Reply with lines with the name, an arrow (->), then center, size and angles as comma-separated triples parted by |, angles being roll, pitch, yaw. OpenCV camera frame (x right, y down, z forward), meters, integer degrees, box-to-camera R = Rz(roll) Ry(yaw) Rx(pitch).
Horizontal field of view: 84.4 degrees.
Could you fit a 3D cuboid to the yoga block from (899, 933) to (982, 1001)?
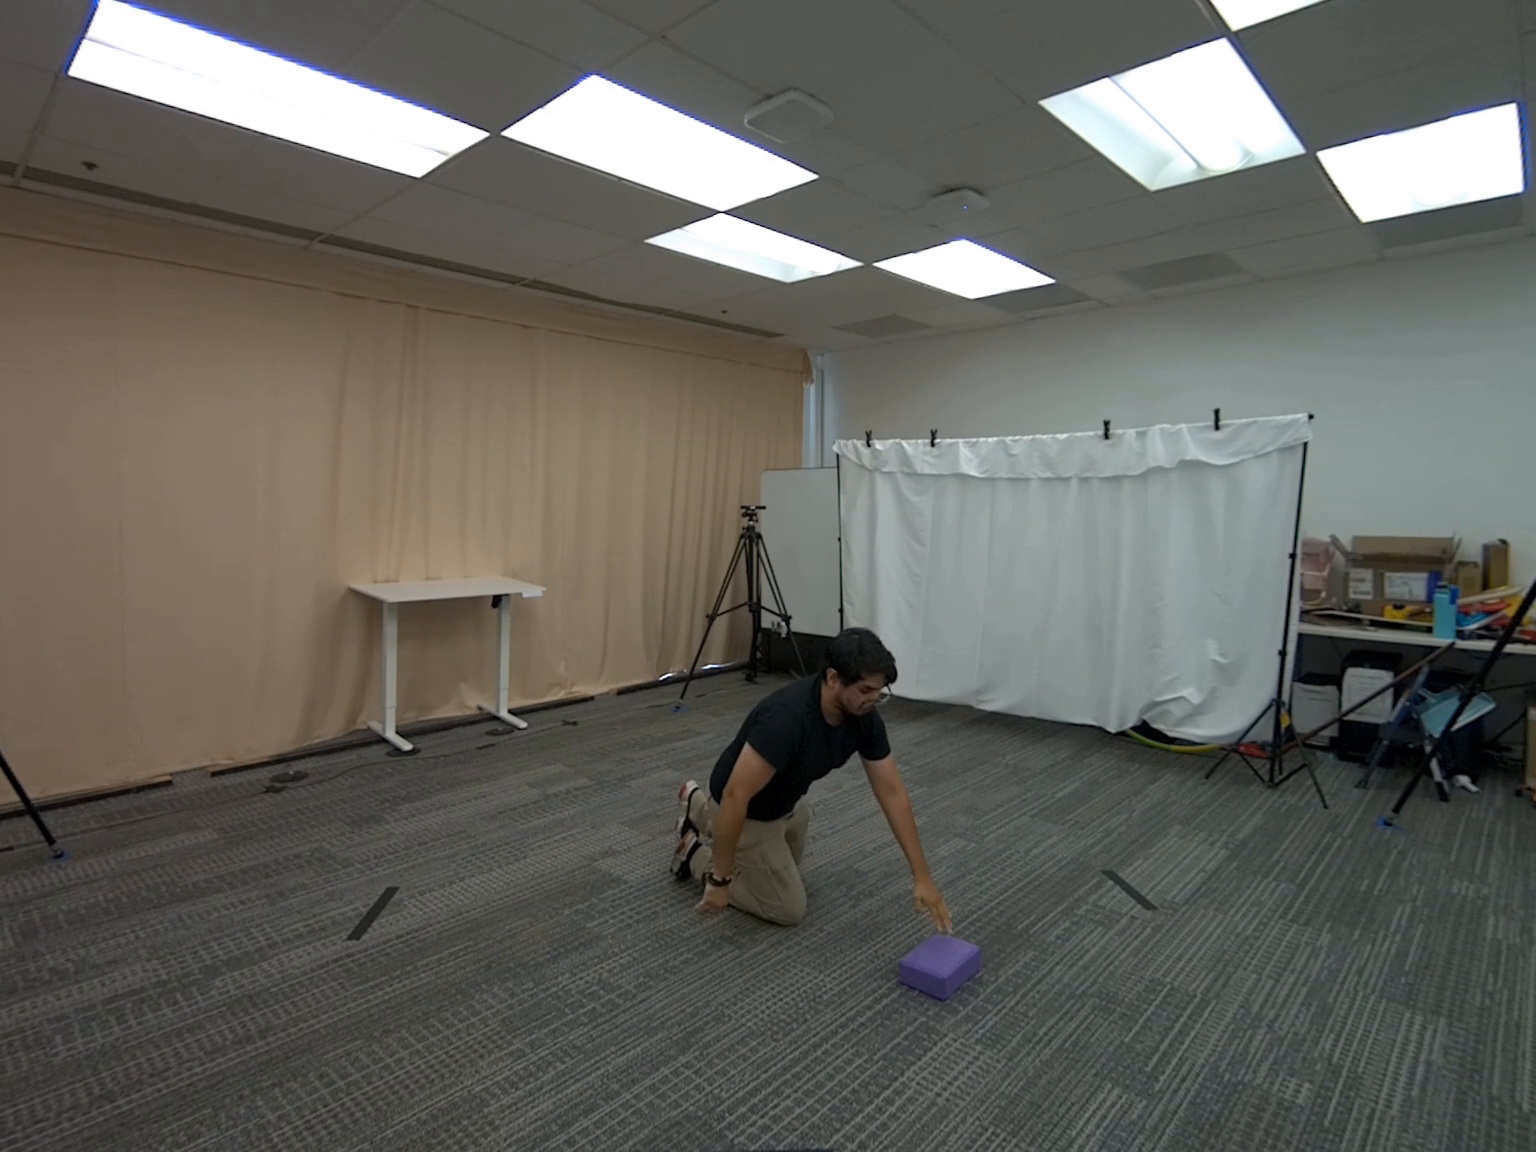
yoga block -> 0.513, 1.145, 2.484 | 0.154, 0.076, 0.222 | 2, 6, 41
